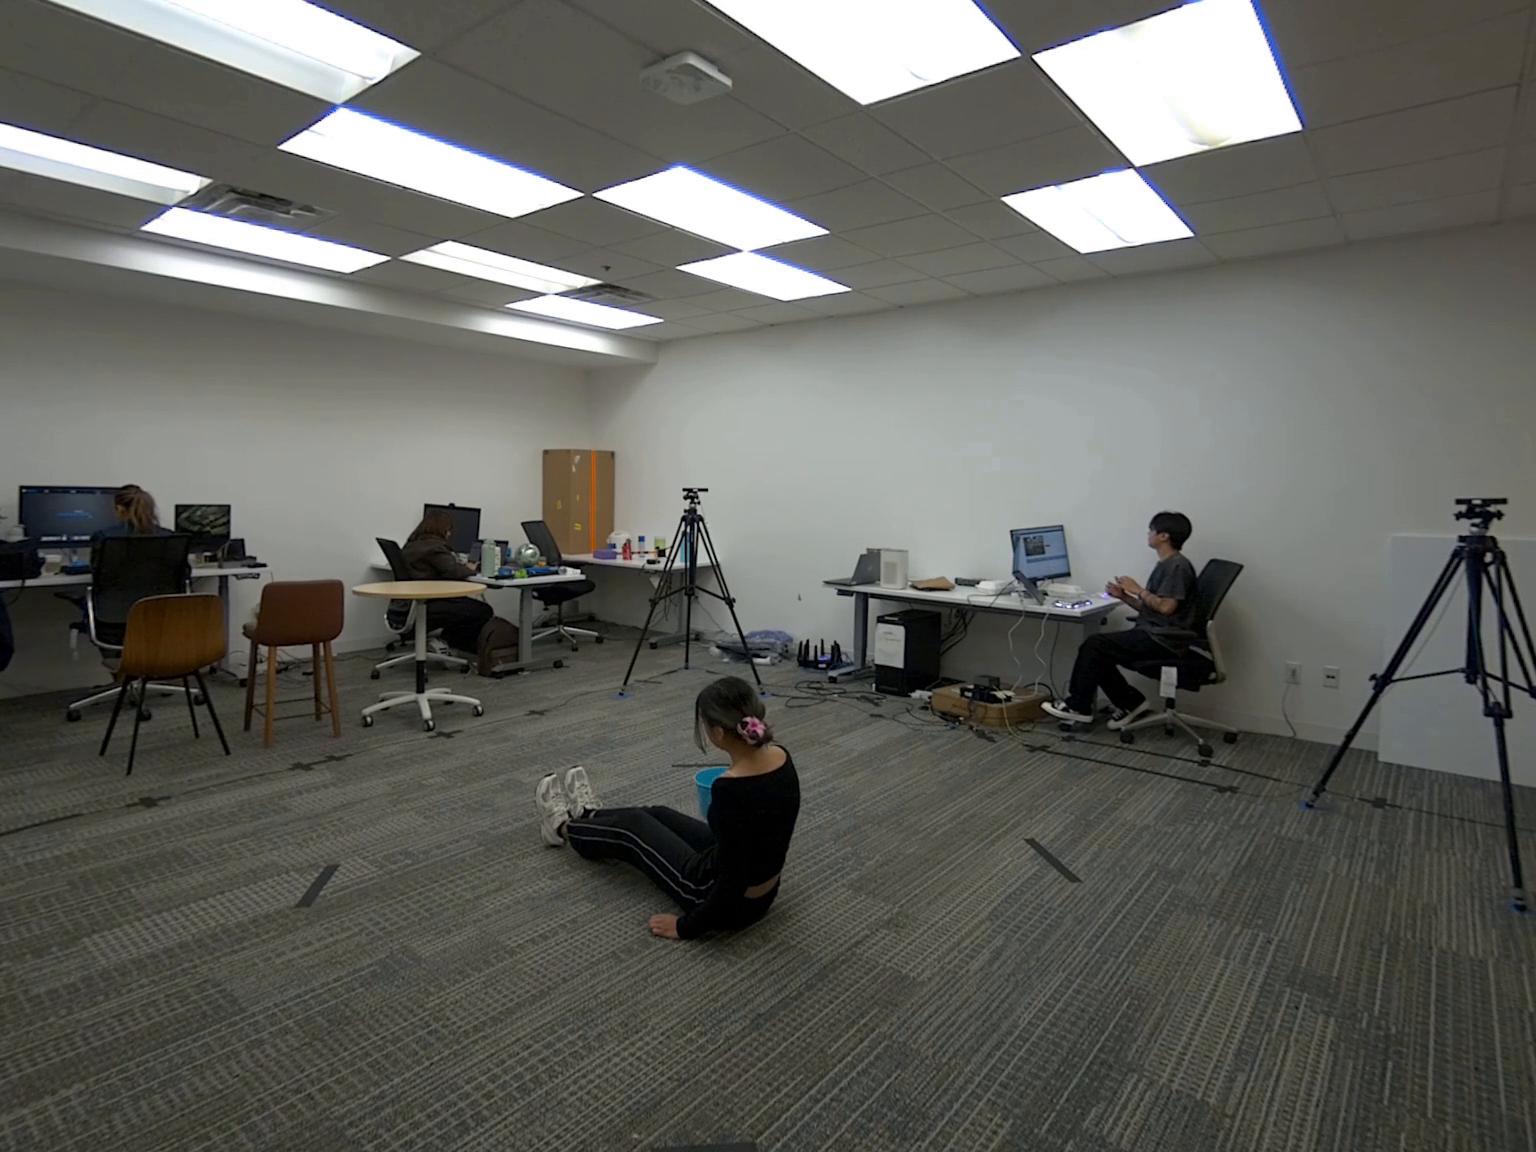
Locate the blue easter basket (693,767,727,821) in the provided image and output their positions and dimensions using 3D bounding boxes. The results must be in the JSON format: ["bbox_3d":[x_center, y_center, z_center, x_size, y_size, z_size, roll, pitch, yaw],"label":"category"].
[{"bbox_3d":[-0.188,0.872,3.400,0.243,0.155,0.245,0,6,-2],"label":"blue easter basket"}]
